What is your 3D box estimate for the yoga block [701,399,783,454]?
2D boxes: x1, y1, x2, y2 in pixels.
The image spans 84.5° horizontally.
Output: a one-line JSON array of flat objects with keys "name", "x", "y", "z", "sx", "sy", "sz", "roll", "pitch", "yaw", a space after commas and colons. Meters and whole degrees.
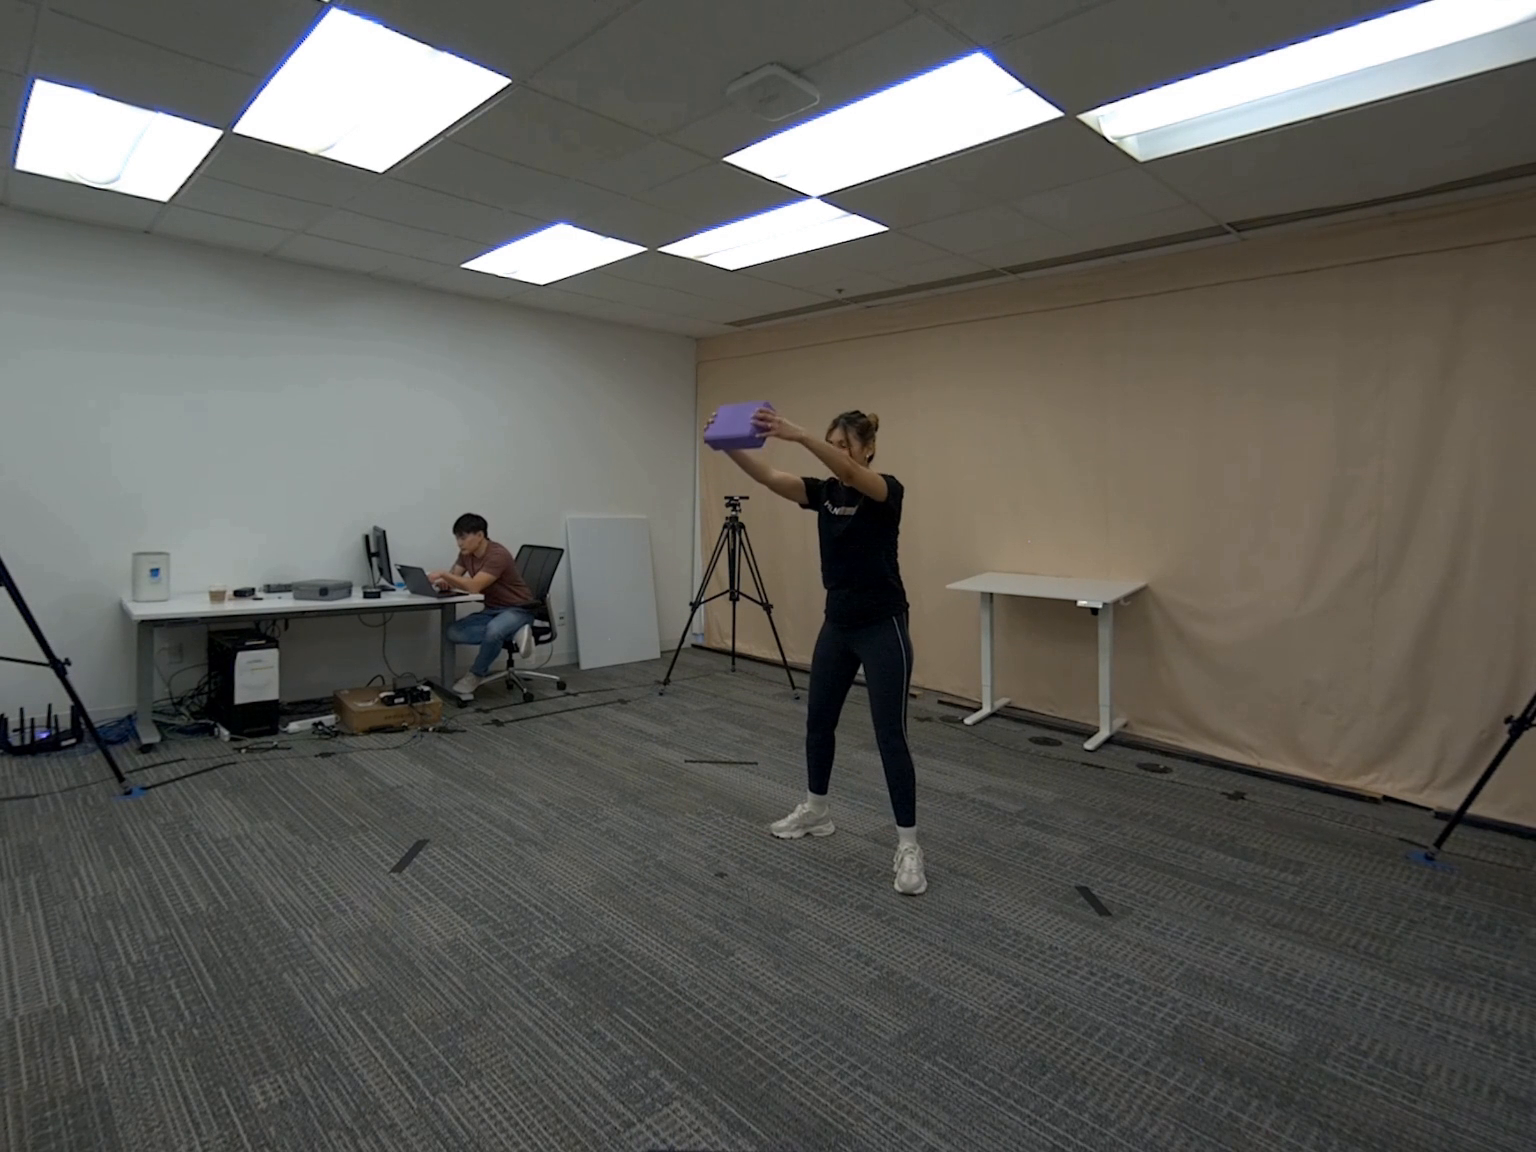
[{"name": "yoga block", "x": -0.089, "y": -0.493, "z": 2.792, "sx": 0.235, "sy": 0.150, "sz": 0.074, "roll": 5, "pitch": -29, "yaw": 42}]
